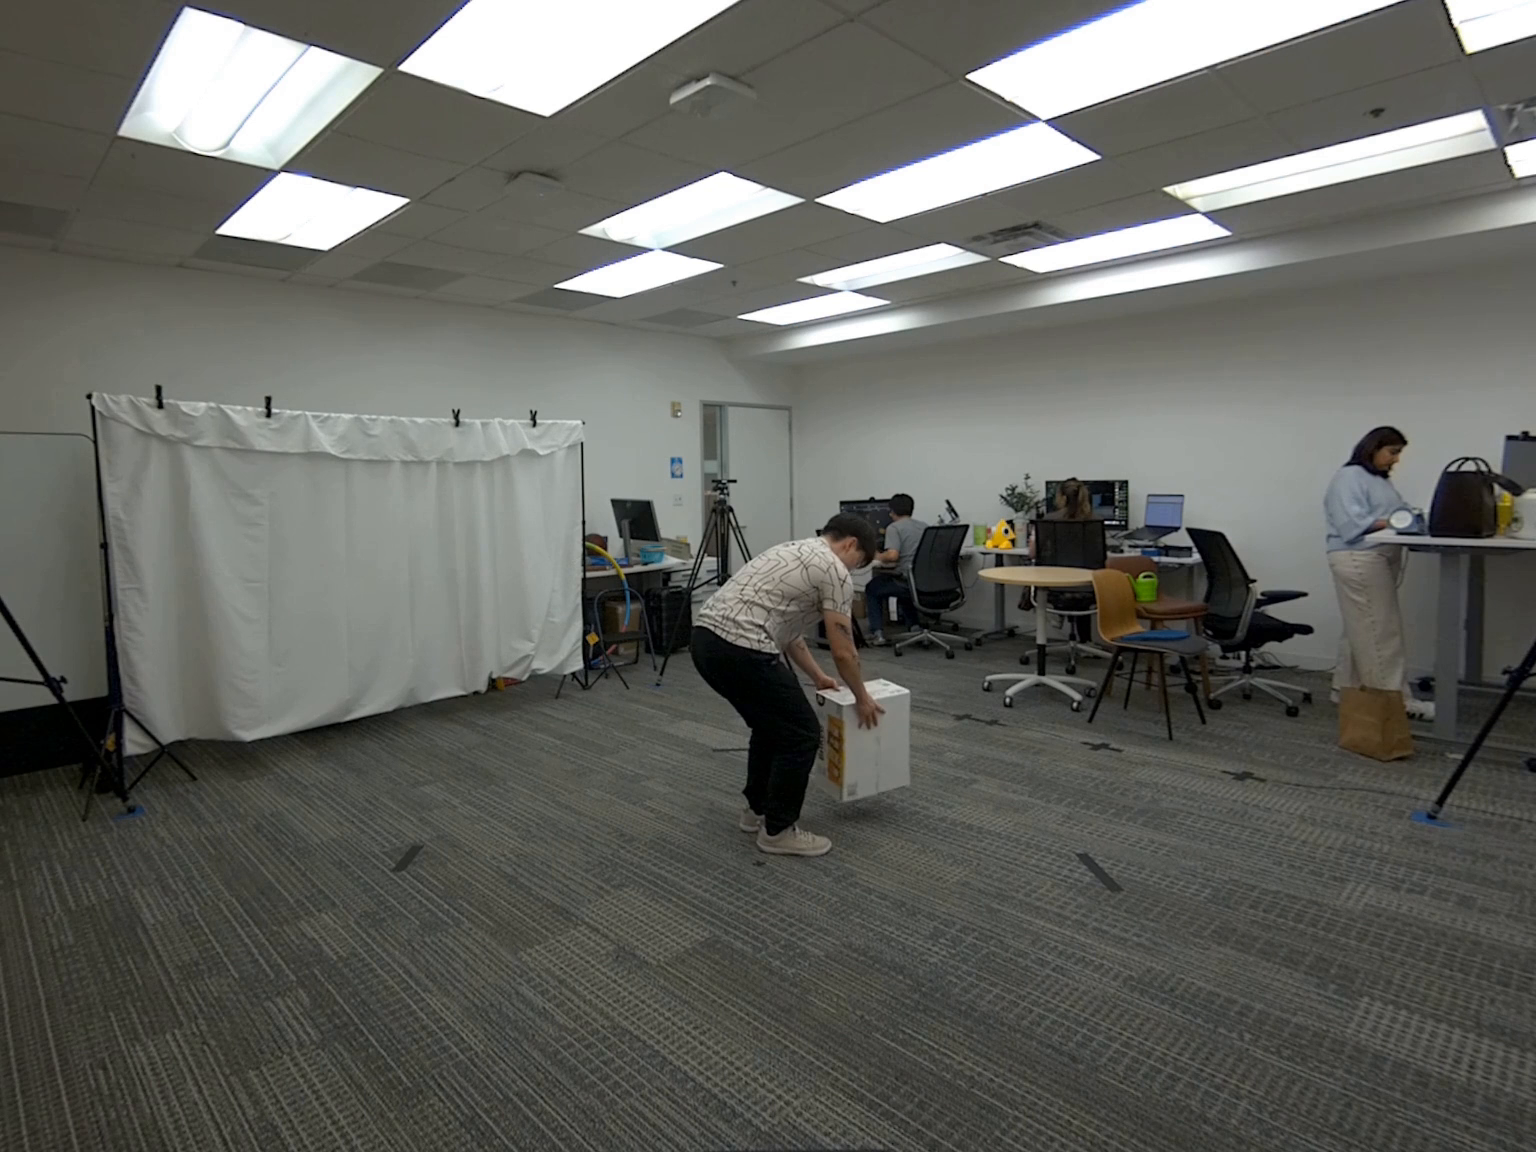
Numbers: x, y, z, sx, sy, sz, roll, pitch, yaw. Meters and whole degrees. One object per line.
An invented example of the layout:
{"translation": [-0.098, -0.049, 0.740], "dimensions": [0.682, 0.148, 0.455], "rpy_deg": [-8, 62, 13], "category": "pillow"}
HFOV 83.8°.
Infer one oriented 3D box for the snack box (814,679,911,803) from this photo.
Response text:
{"translation": [0.393, 0.669, 3.536], "dimensions": [0.333, 0.402, 0.211], "rpy_deg": [-5, 9, -27], "category": "snack box"}
